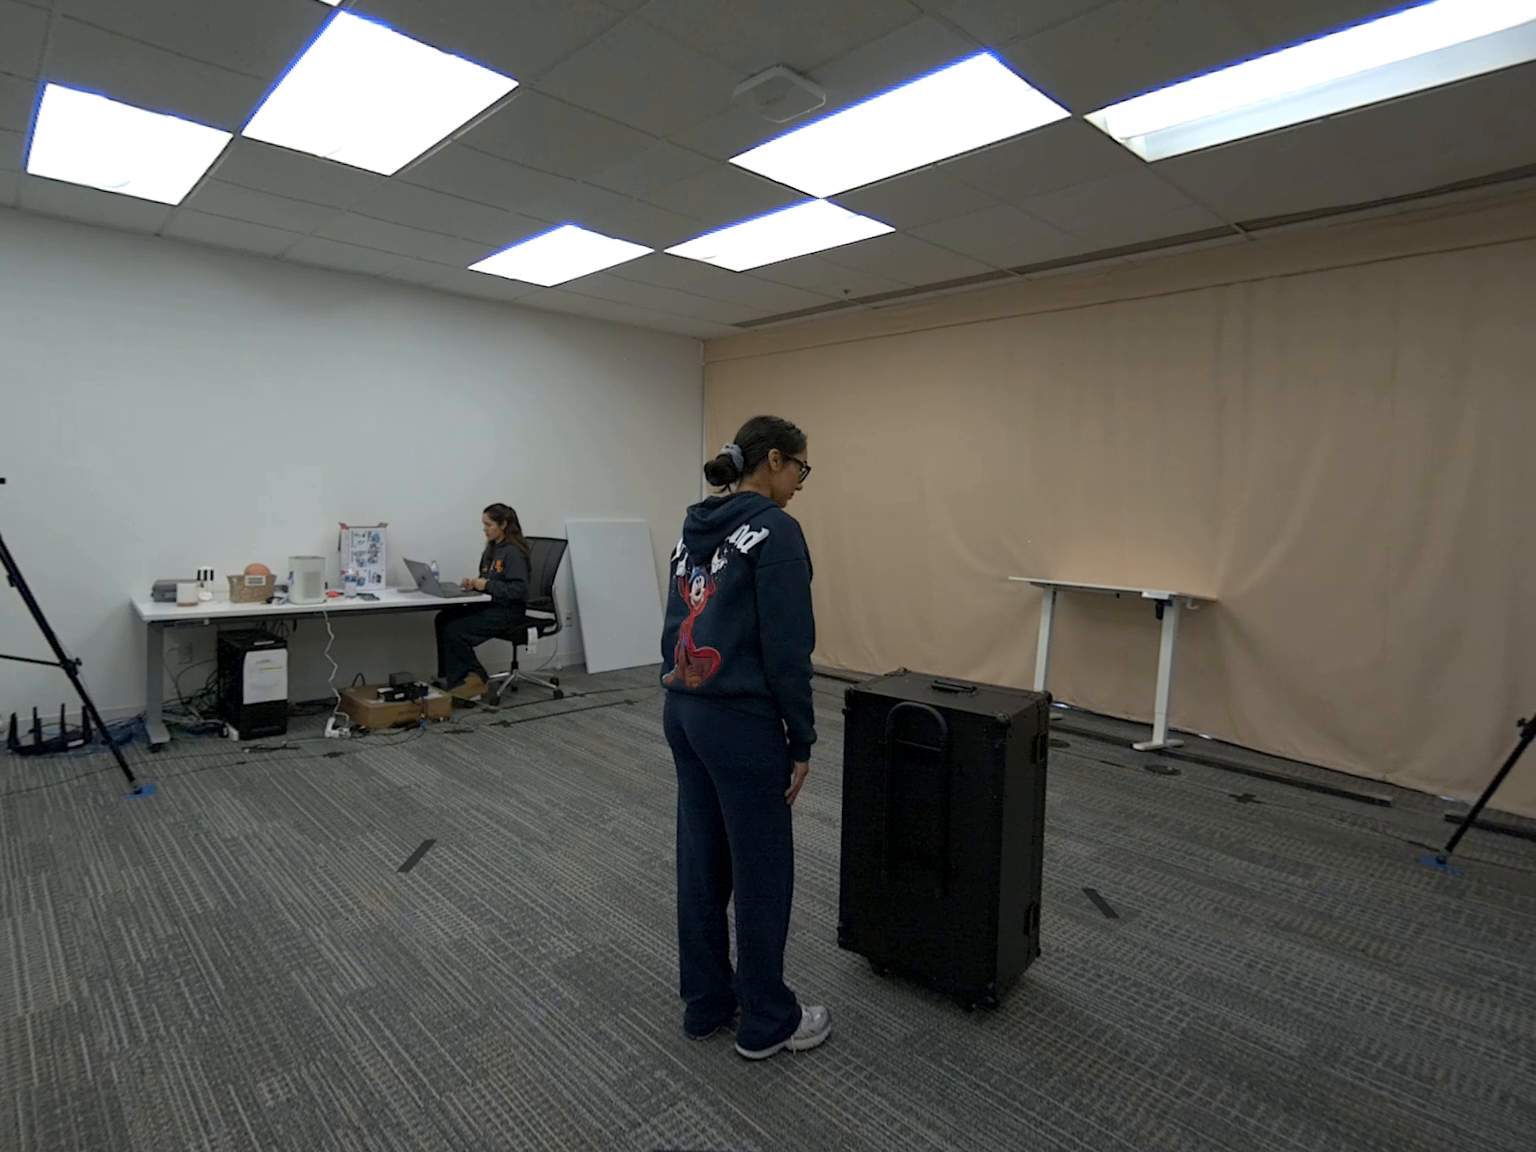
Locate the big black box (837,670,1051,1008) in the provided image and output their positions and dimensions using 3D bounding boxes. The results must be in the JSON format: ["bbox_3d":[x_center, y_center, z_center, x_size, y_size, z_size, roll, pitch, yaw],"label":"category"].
[{"bbox_3d":[0.510,0.756,2.460,0.534,0.858,0.388,4,6,37],"label":"big black box"}]
